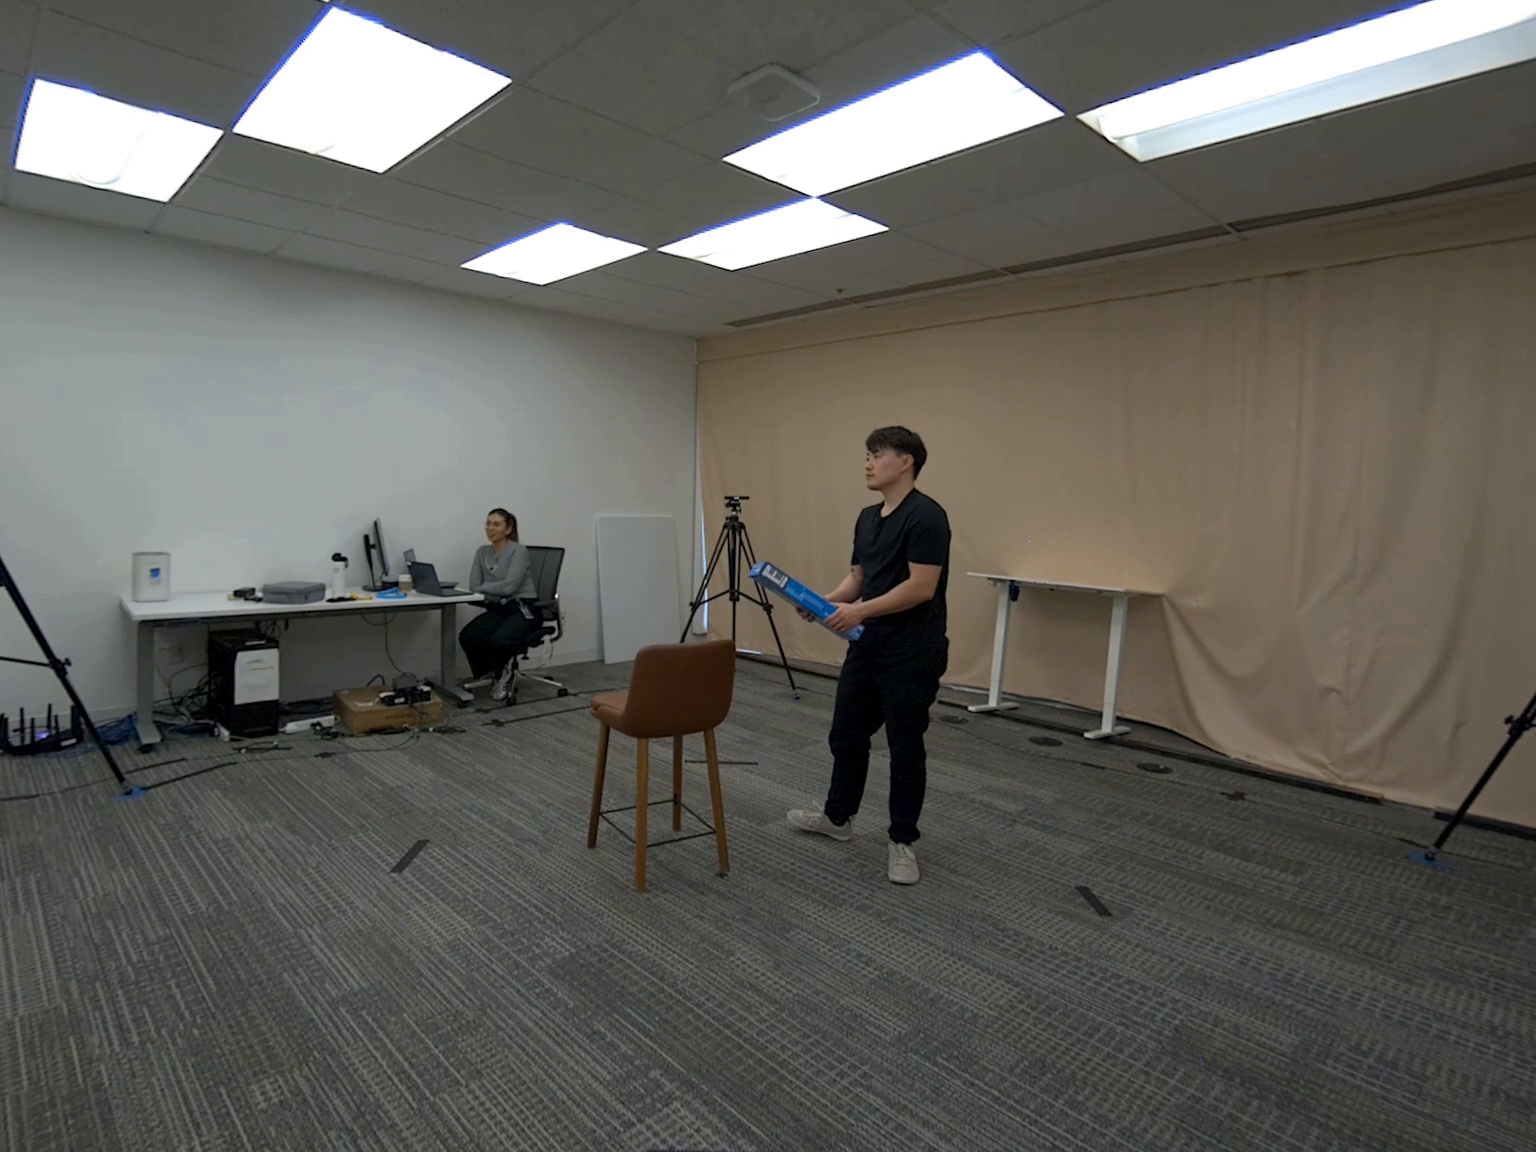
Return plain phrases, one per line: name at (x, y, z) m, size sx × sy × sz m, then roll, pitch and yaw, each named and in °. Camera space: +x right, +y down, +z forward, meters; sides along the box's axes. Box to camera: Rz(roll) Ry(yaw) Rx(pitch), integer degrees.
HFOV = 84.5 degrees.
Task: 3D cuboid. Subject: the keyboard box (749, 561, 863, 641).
keyboard box at (0.131, 0.092, 3.086) m, size 0.434 × 0.059 × 0.177 m, roll 34°, pitch -10°, yaw -7°
